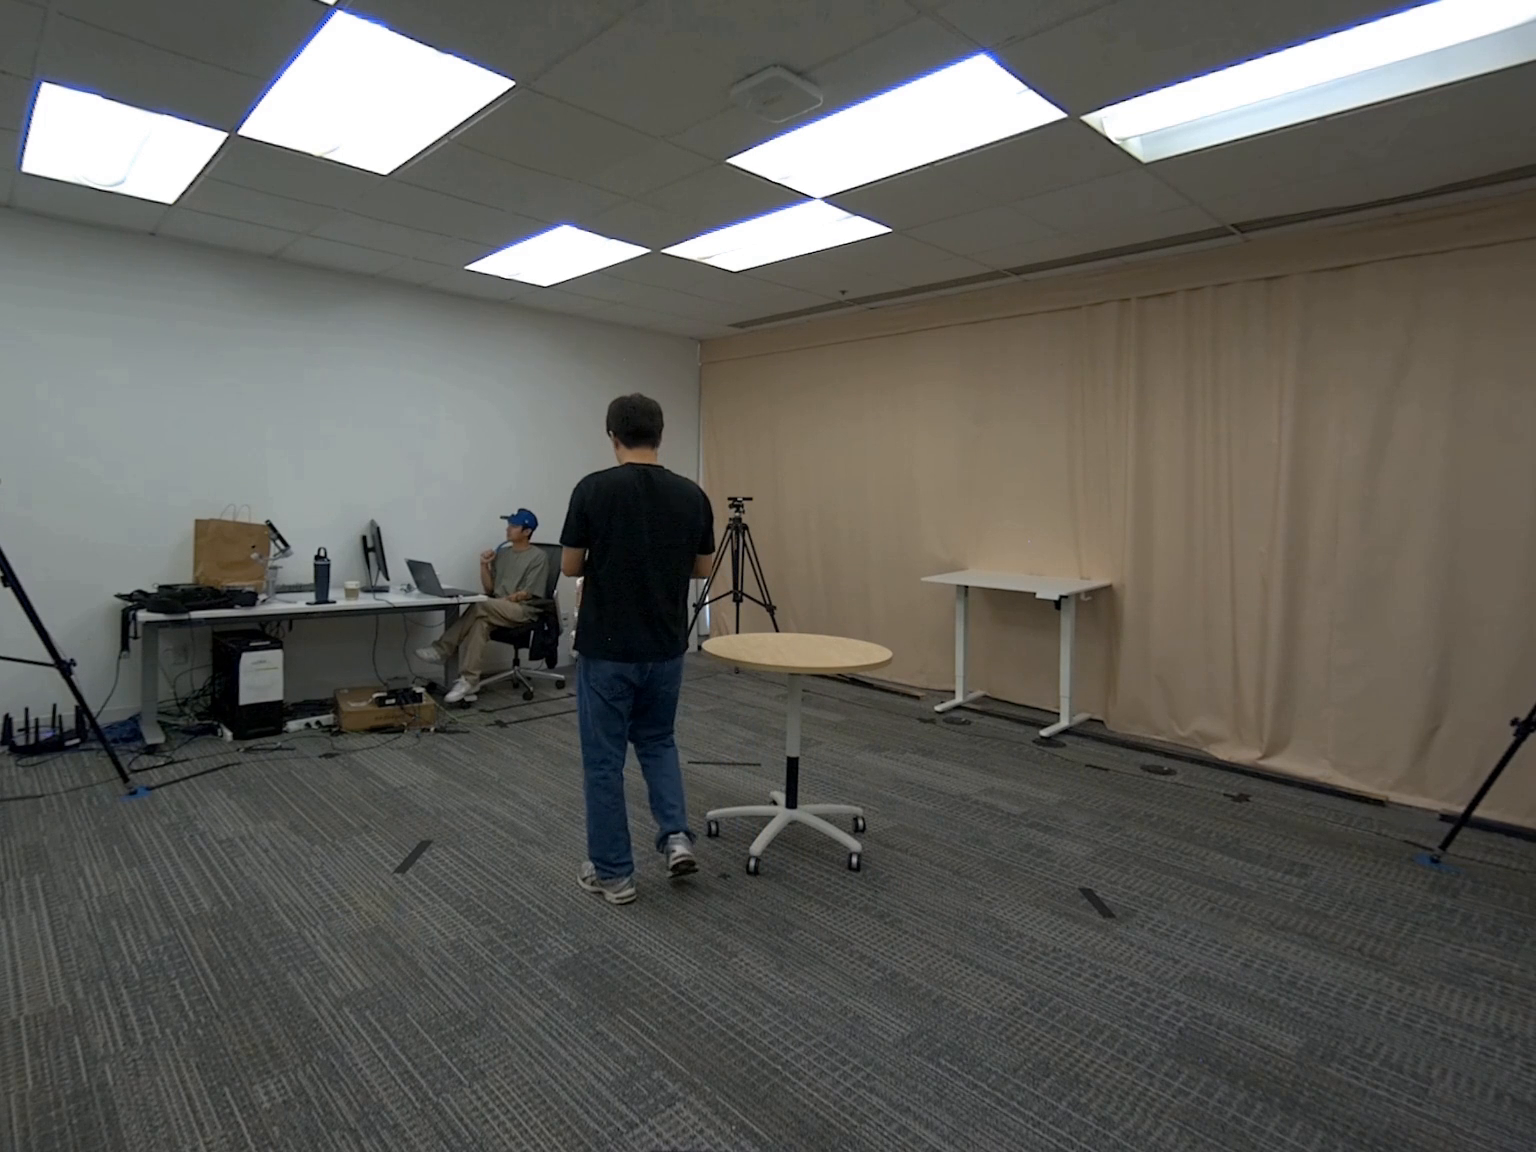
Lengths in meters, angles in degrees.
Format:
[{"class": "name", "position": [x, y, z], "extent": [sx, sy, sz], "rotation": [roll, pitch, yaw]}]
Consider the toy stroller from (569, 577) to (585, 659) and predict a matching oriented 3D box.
[{"class": "toy stroller", "position": [-0.656, 0.088, 3.409], "extent": [0.277, 0.528, 0.351], "rotation": [2, 30, -21]}]
